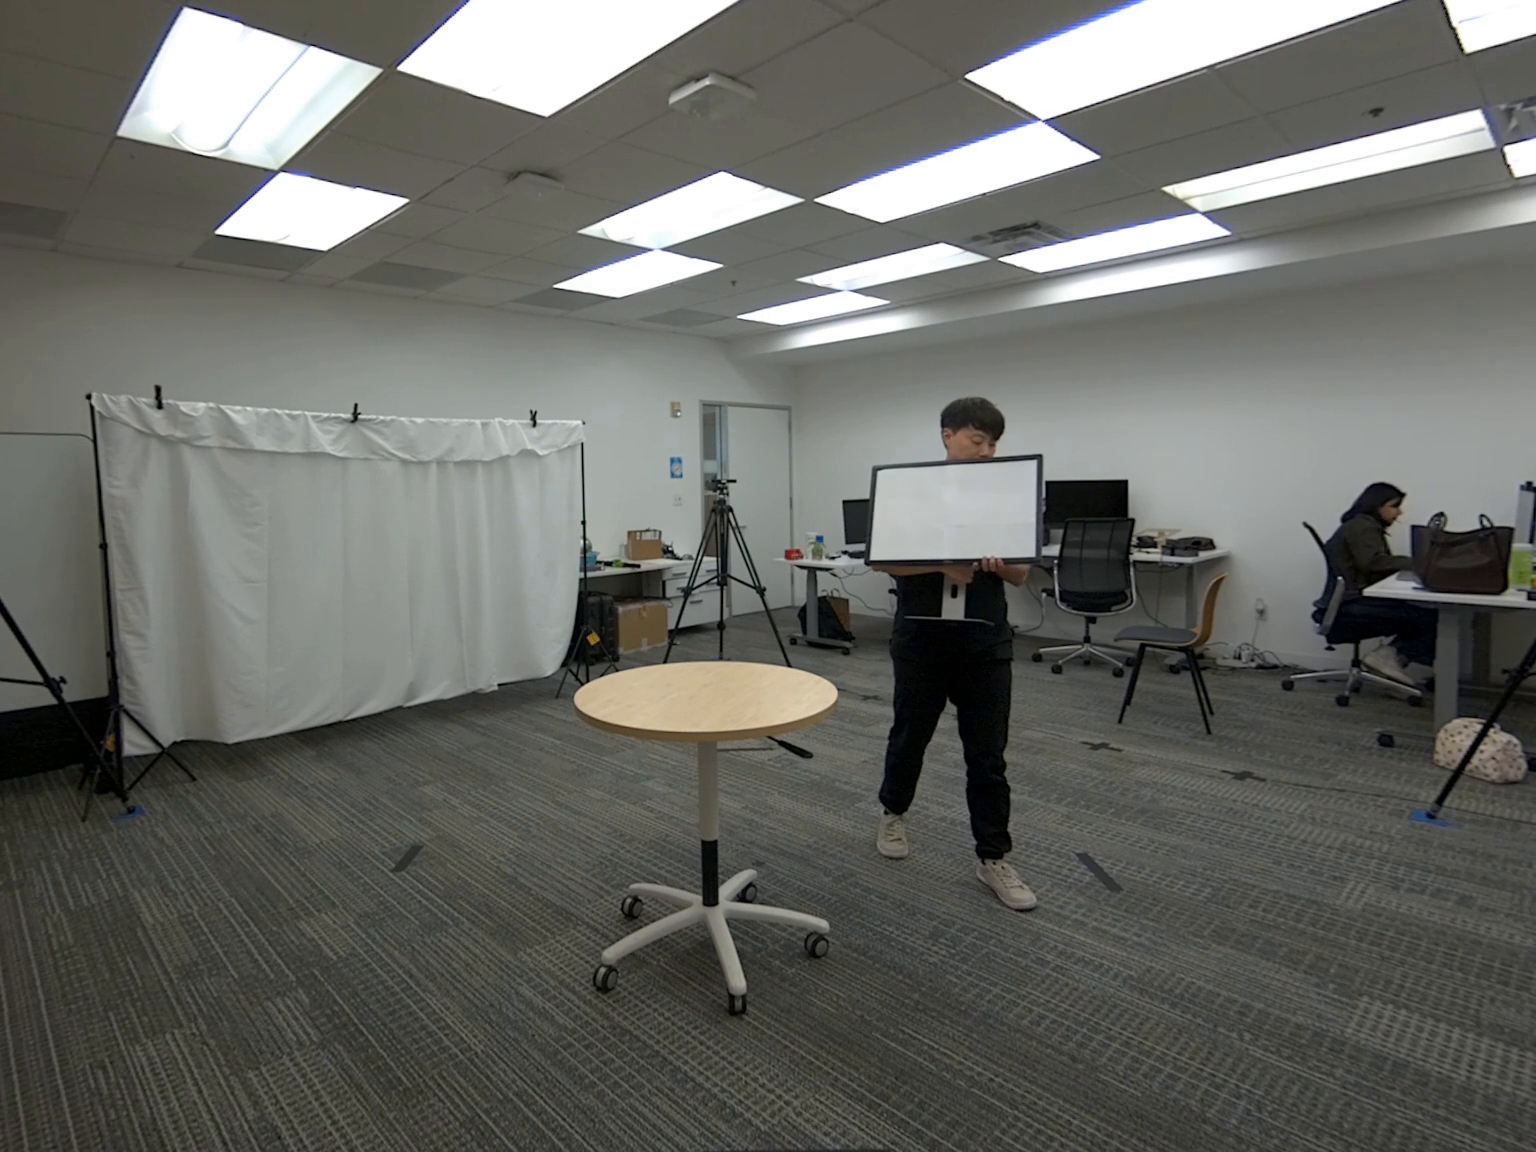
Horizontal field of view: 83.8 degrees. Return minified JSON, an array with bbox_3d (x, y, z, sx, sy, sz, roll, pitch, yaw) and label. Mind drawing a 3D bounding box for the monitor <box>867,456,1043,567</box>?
[{"bbox_3d":[0.604,-0.111,2.797,0.551,0.526,0.181,-1,-9,26],"label":"monitor"}]
